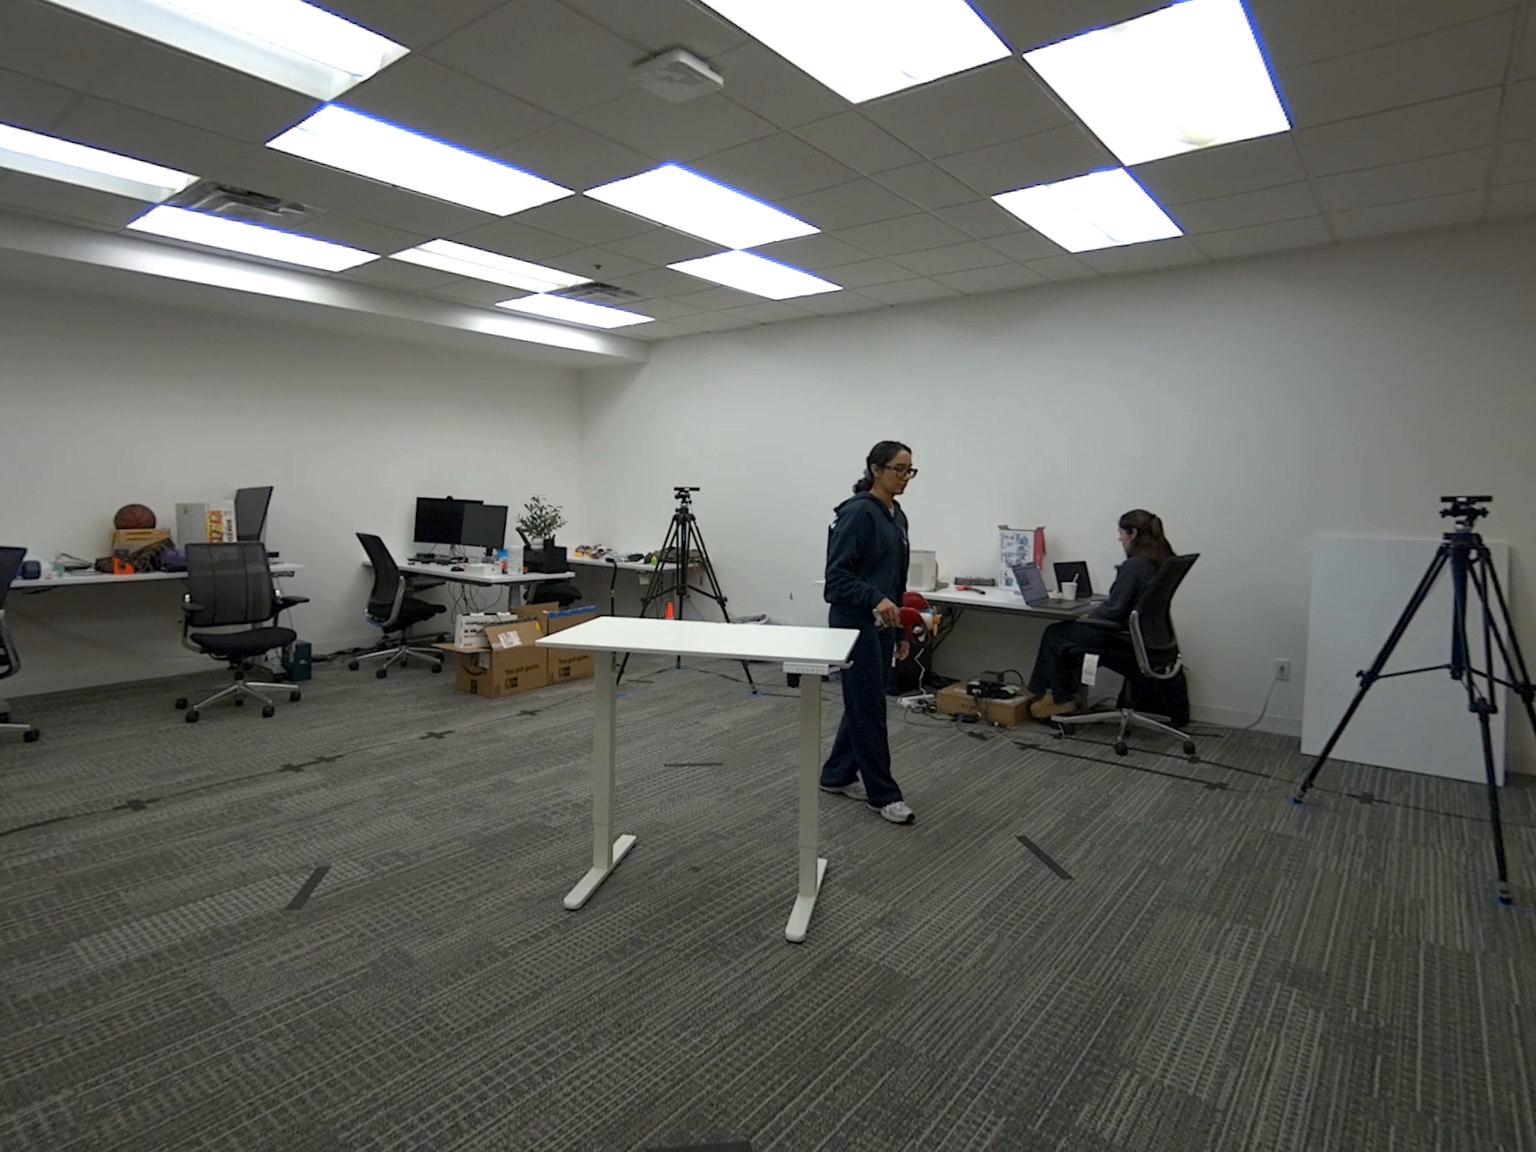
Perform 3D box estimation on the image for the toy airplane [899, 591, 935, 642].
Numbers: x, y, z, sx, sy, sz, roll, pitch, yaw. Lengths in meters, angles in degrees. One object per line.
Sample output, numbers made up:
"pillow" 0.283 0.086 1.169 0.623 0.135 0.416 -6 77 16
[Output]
"toy airplane" 0.547 0.161 3.426 0.264 0.157 0.245 28 -25 12
